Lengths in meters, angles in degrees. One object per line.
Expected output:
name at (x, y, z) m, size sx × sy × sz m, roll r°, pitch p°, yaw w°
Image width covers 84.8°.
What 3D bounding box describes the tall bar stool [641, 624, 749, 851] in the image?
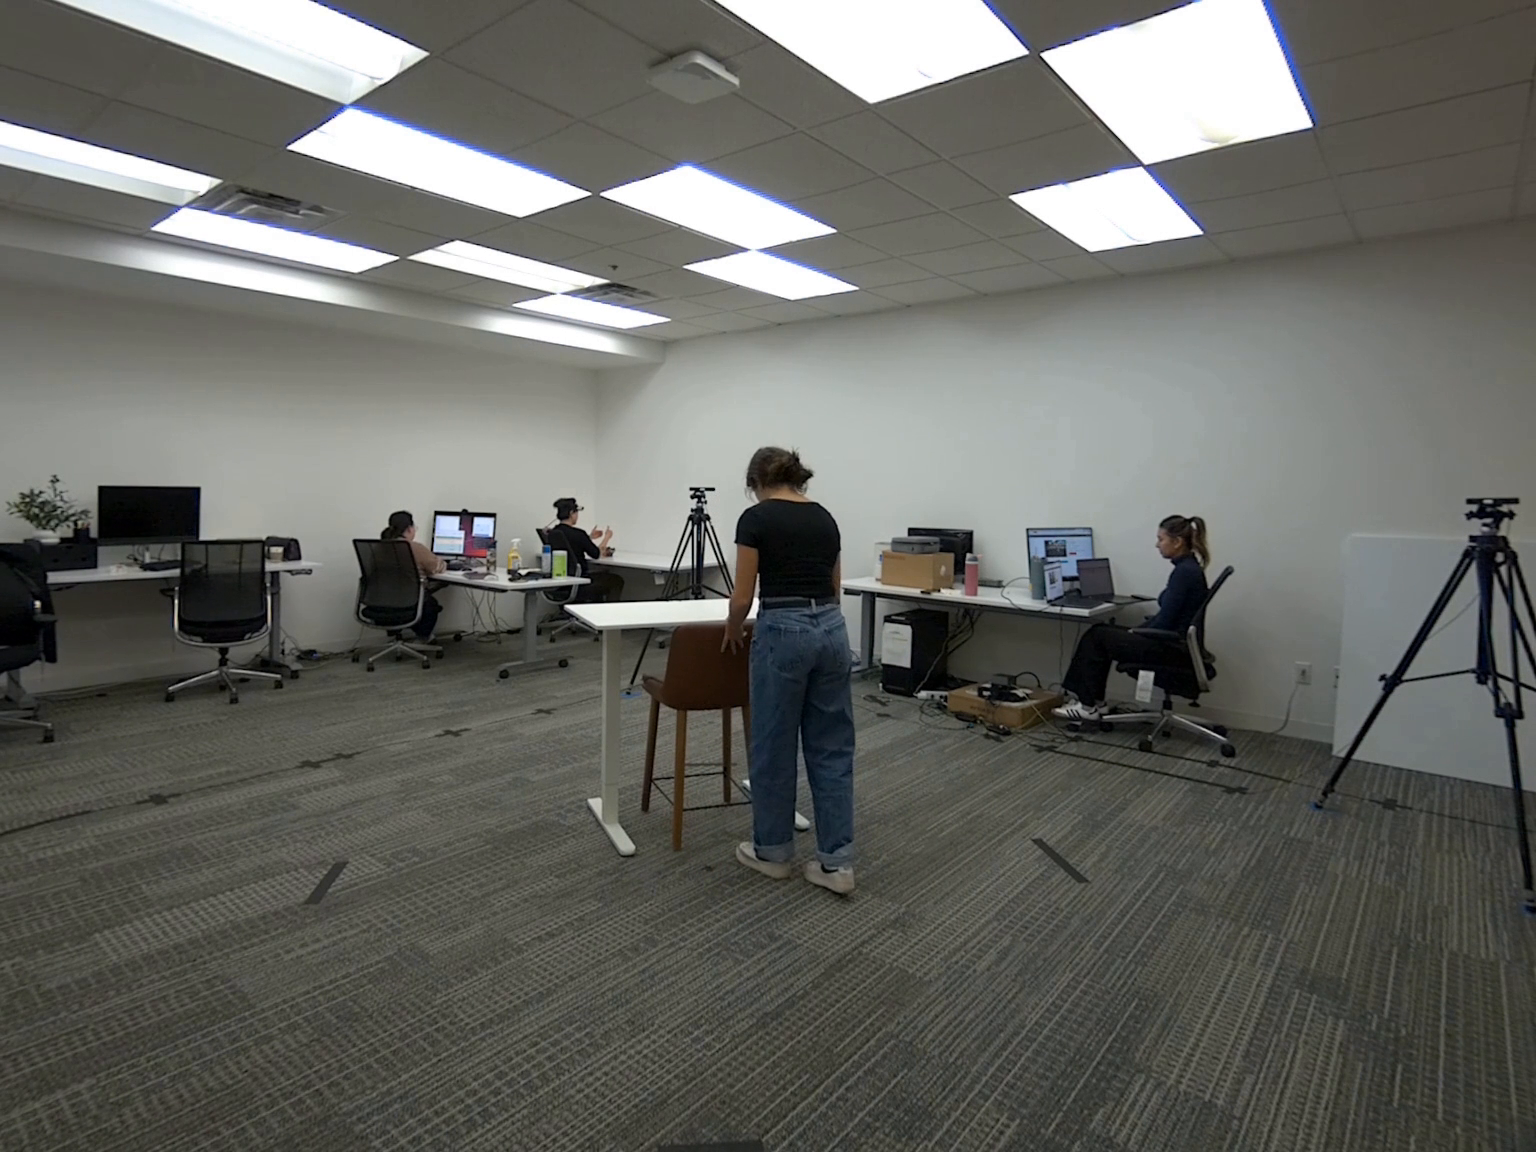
tall bar stool at (-0.274, 0.597, 3.492) m, size 0.447 × 0.886 × 0.479 m, roll 0°, pitch 5°, yaw -21°
